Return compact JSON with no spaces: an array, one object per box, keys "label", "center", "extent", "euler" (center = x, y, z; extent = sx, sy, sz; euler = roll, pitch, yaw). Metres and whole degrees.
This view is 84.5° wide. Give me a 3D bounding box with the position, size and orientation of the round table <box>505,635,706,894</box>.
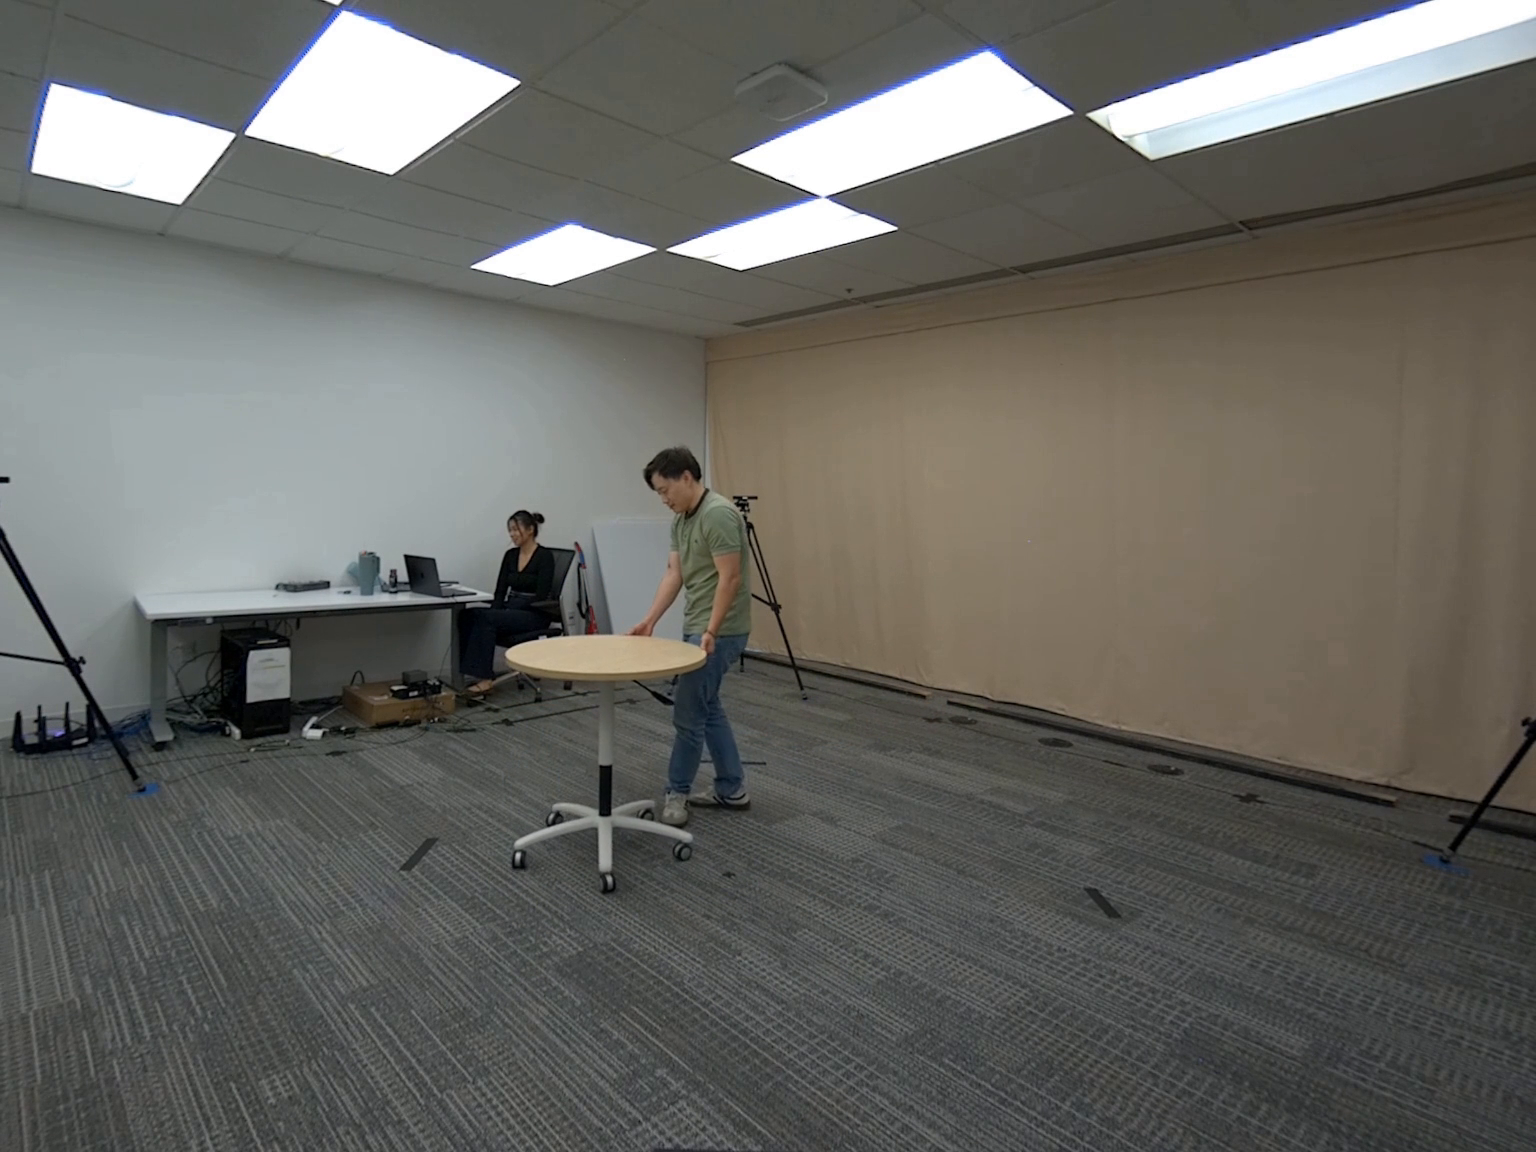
[{"label":"round table","center":[-0.643,0.689,3.269],"extent":[0.763,0.792,0.766],"euler":[1,4,-1]}]
